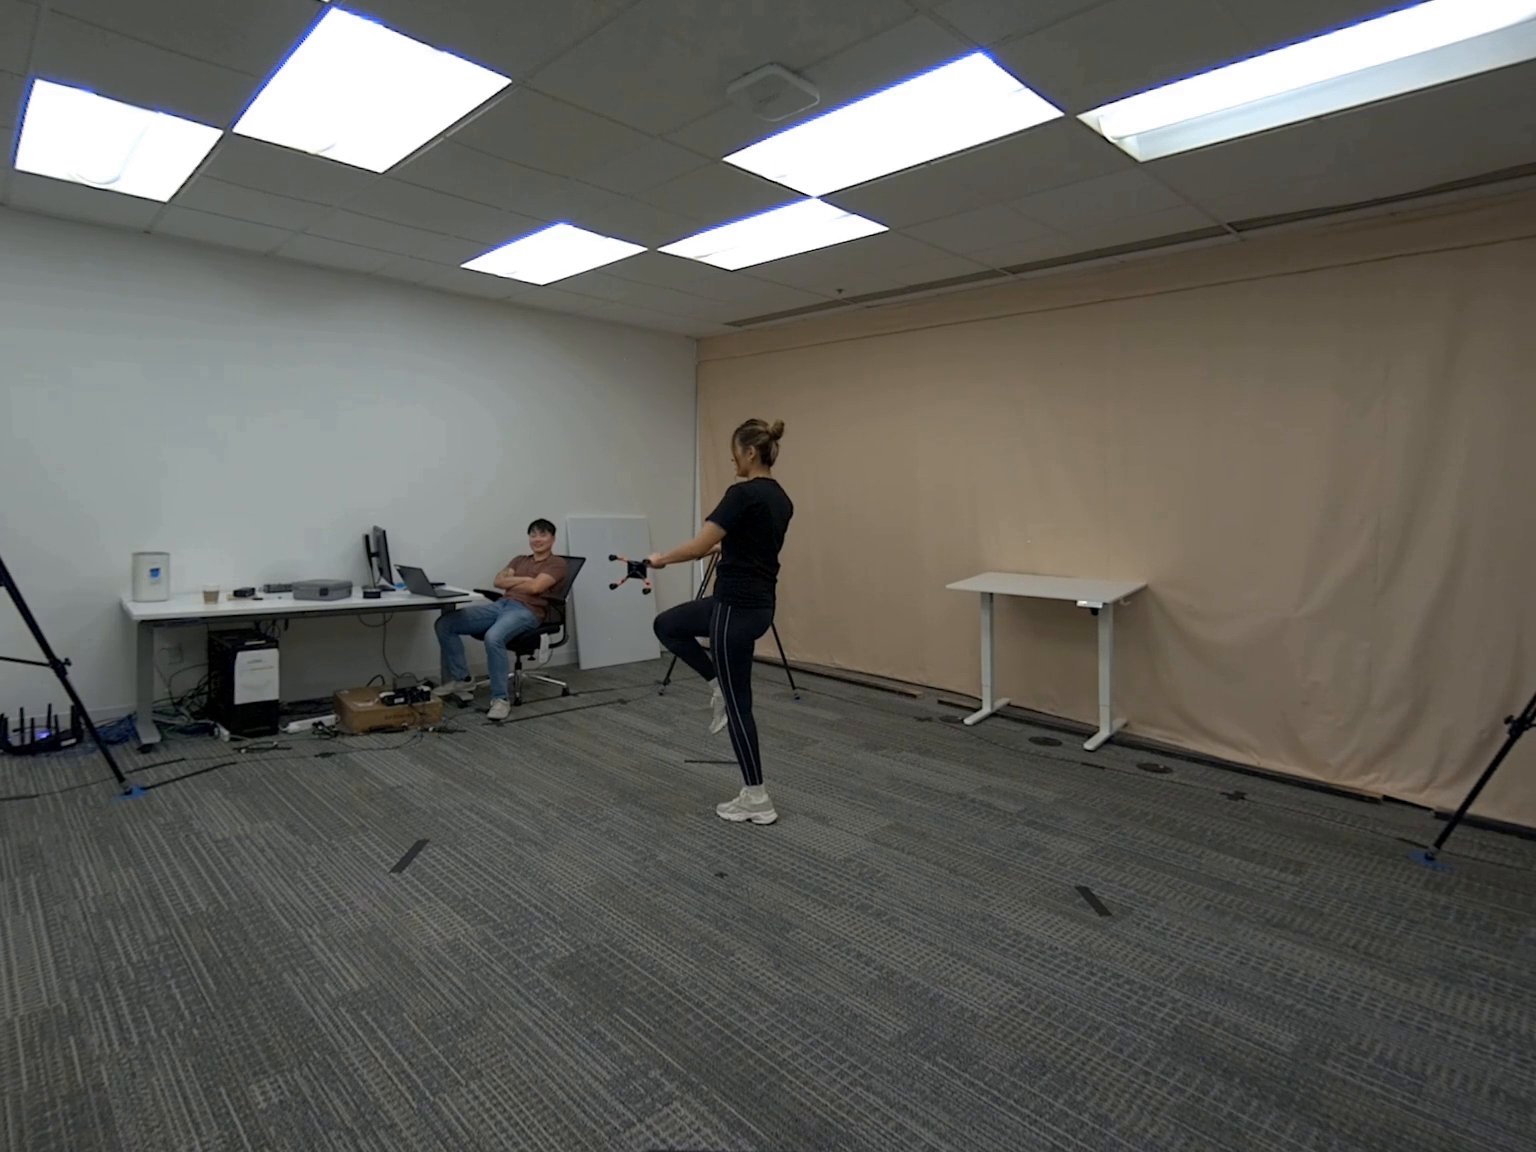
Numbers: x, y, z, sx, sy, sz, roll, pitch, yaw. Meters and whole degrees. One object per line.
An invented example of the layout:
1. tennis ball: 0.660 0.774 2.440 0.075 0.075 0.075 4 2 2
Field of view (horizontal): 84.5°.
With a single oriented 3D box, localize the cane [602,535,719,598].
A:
1. cane: -0.389 -0.075 3.901 0.211 0.150 0.894 8 13 29
